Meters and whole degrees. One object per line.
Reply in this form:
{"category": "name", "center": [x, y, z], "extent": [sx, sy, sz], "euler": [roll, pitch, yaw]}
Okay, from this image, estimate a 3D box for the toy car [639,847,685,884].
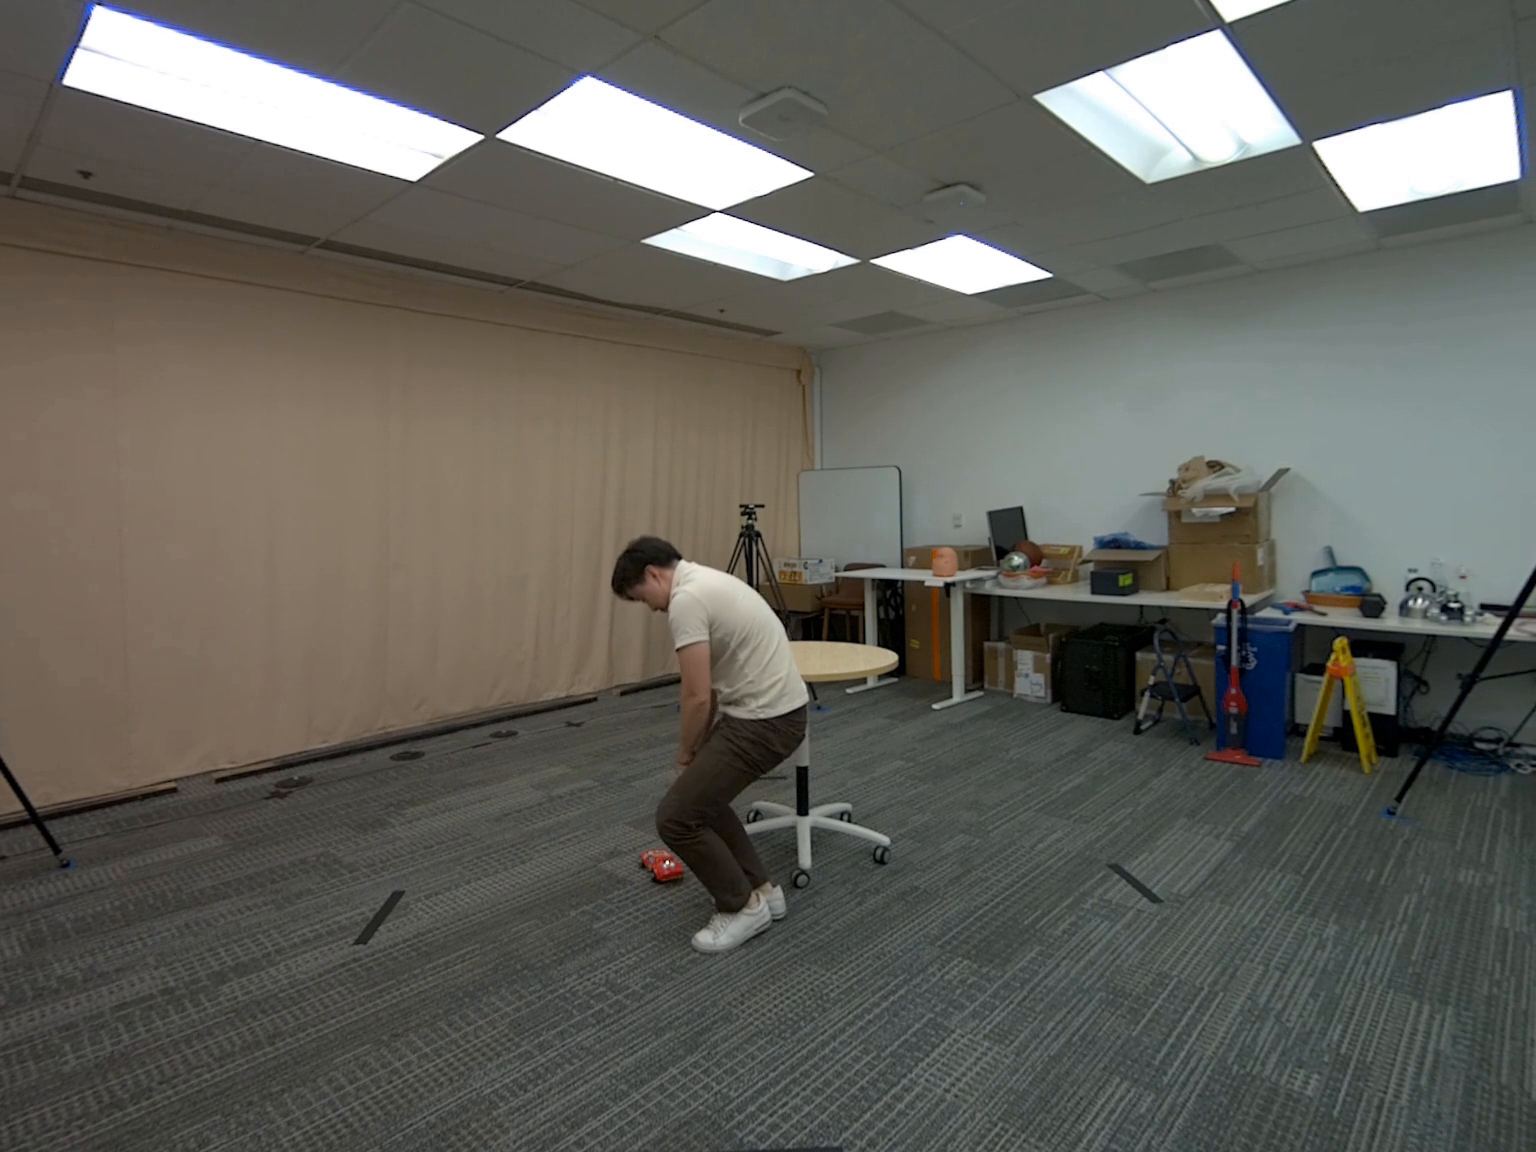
{"category": "toy car", "center": [-0.405, 1.098, 3.191], "extent": [0.127, 0.083, 0.259], "euler": [-3, -6, -25]}
